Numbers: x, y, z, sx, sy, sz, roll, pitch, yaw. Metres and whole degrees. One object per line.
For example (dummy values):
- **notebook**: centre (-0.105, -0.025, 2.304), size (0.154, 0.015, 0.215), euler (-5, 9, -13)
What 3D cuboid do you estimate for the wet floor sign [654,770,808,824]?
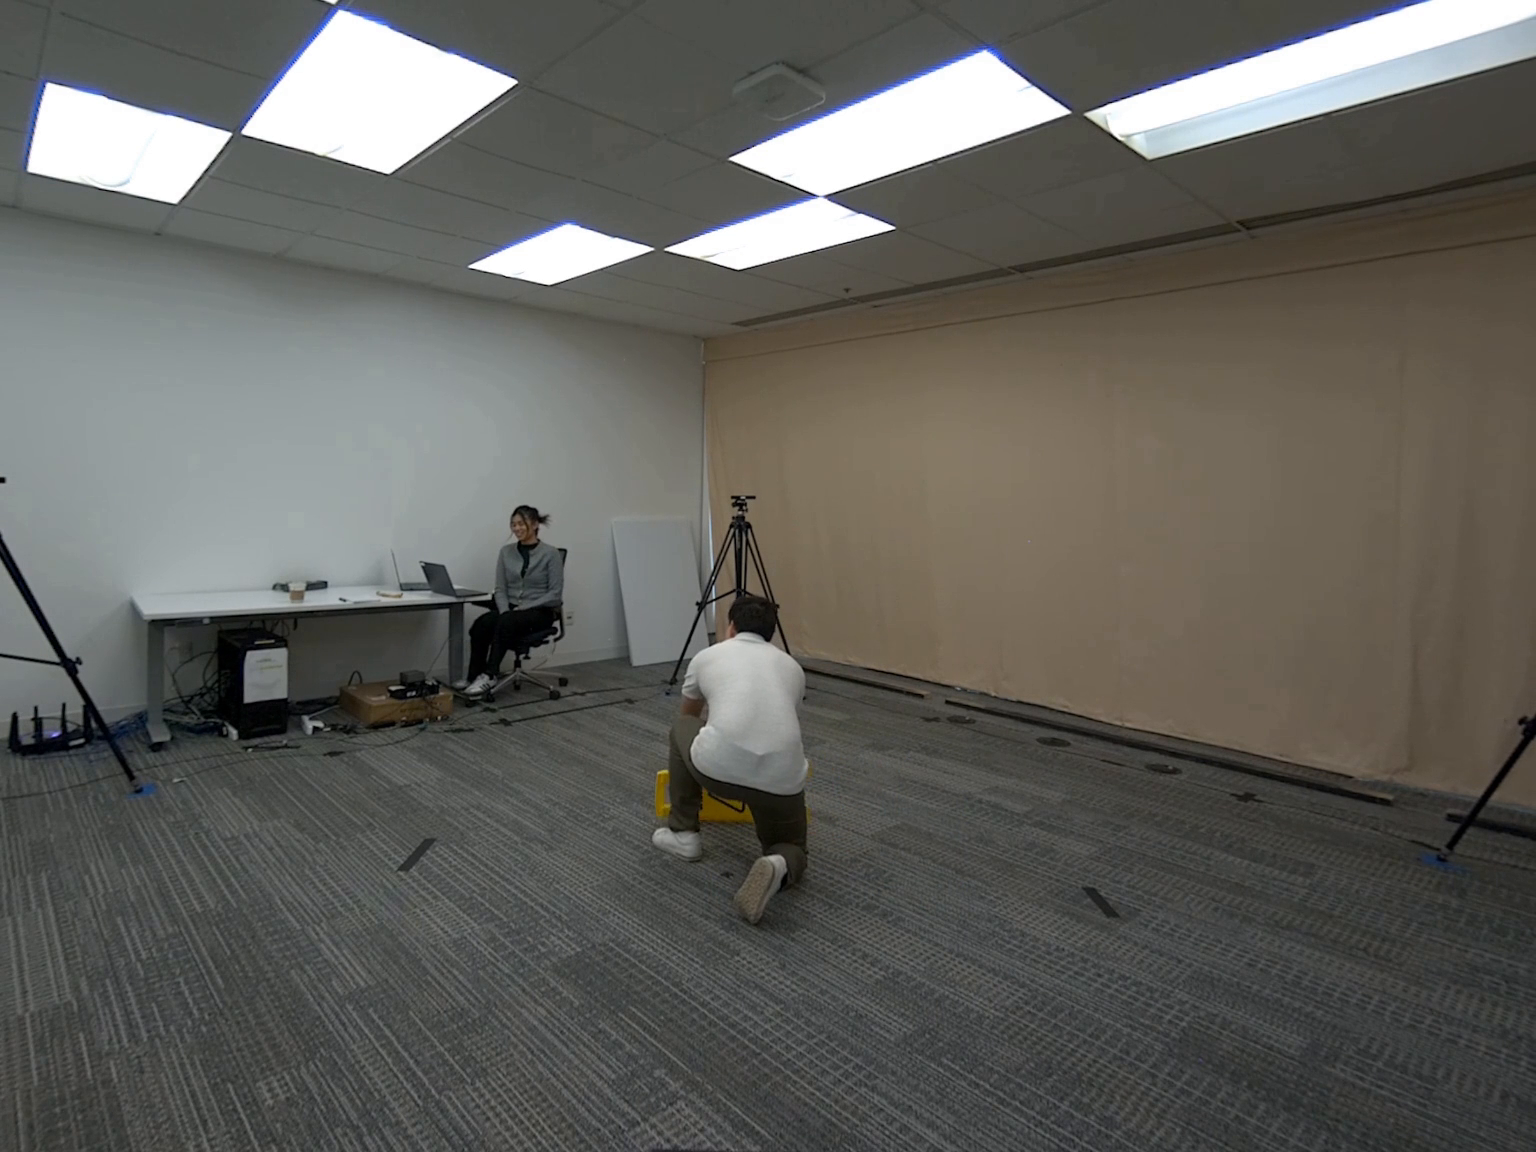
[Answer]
- **wet floor sign**: centre (-0.173, 0.911, 3.649), size (0.636, 0.281, 0.296), euler (-2, 8, -22)
